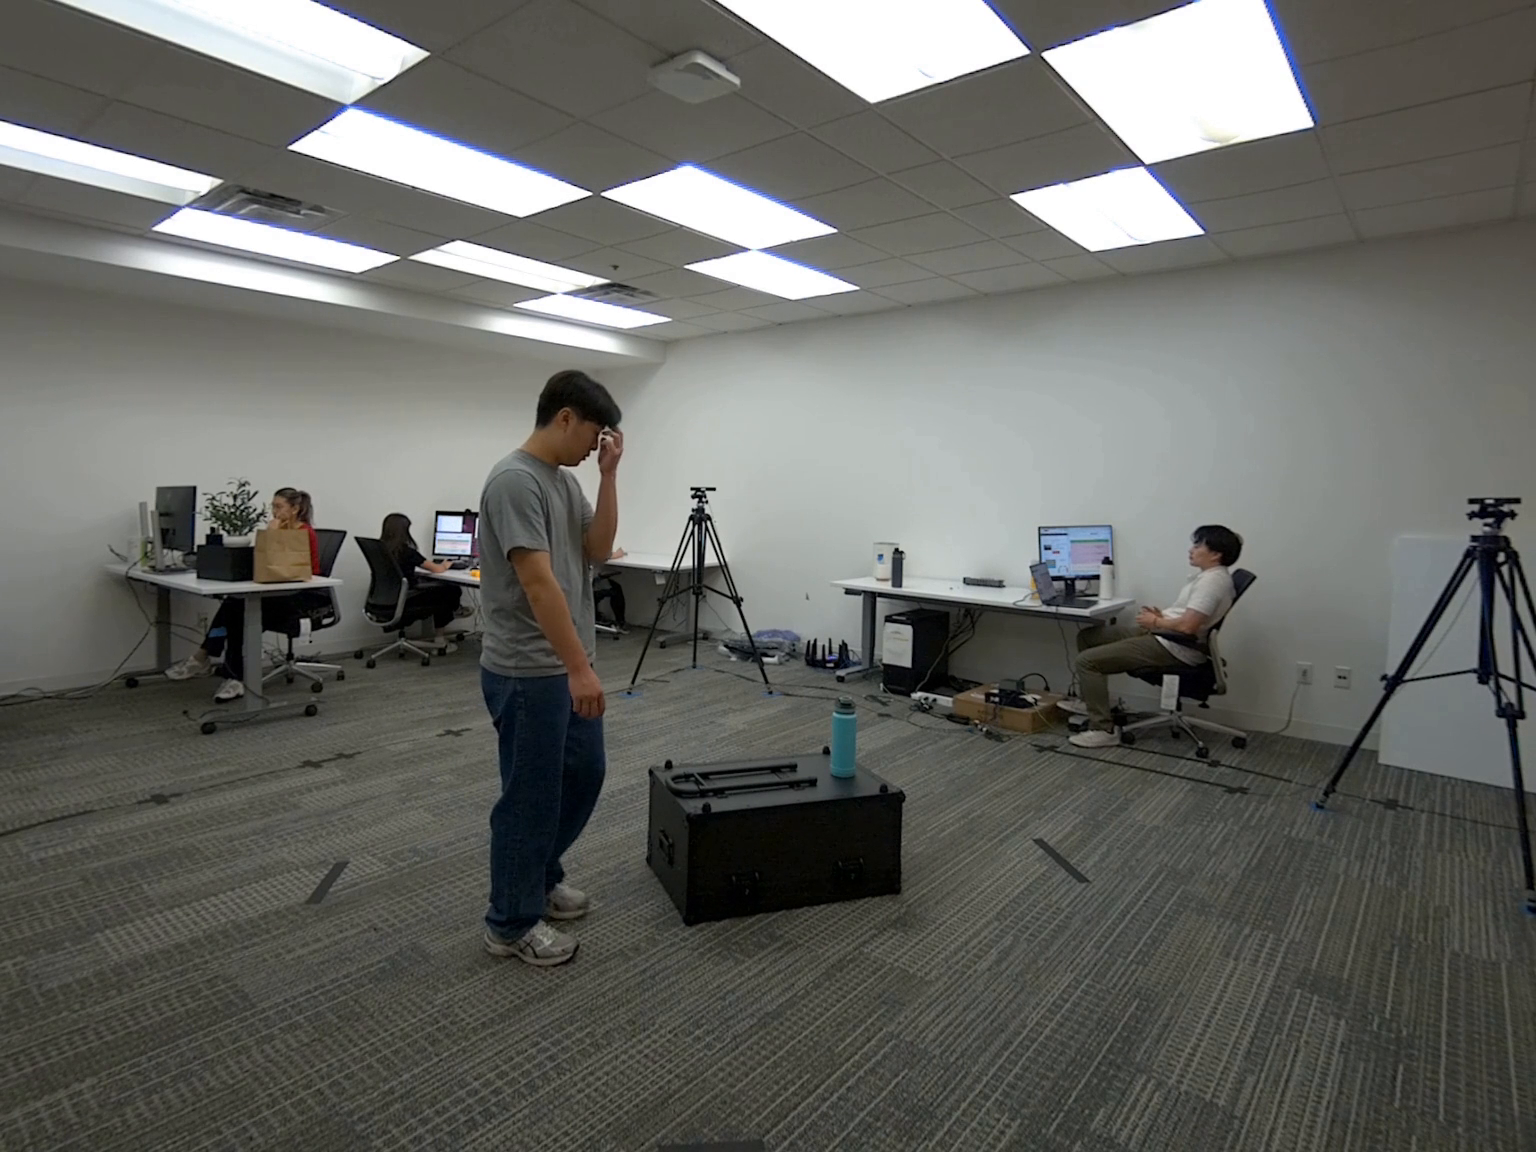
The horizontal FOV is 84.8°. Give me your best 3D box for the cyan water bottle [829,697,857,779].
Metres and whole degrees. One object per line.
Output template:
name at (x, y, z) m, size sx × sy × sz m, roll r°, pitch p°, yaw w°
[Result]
cyan water bottle at (0.267, 0.576, 3.102) m, size 0.092 × 0.283 × 0.092 m, roll 0°, pitch 0°, yaw -2°
